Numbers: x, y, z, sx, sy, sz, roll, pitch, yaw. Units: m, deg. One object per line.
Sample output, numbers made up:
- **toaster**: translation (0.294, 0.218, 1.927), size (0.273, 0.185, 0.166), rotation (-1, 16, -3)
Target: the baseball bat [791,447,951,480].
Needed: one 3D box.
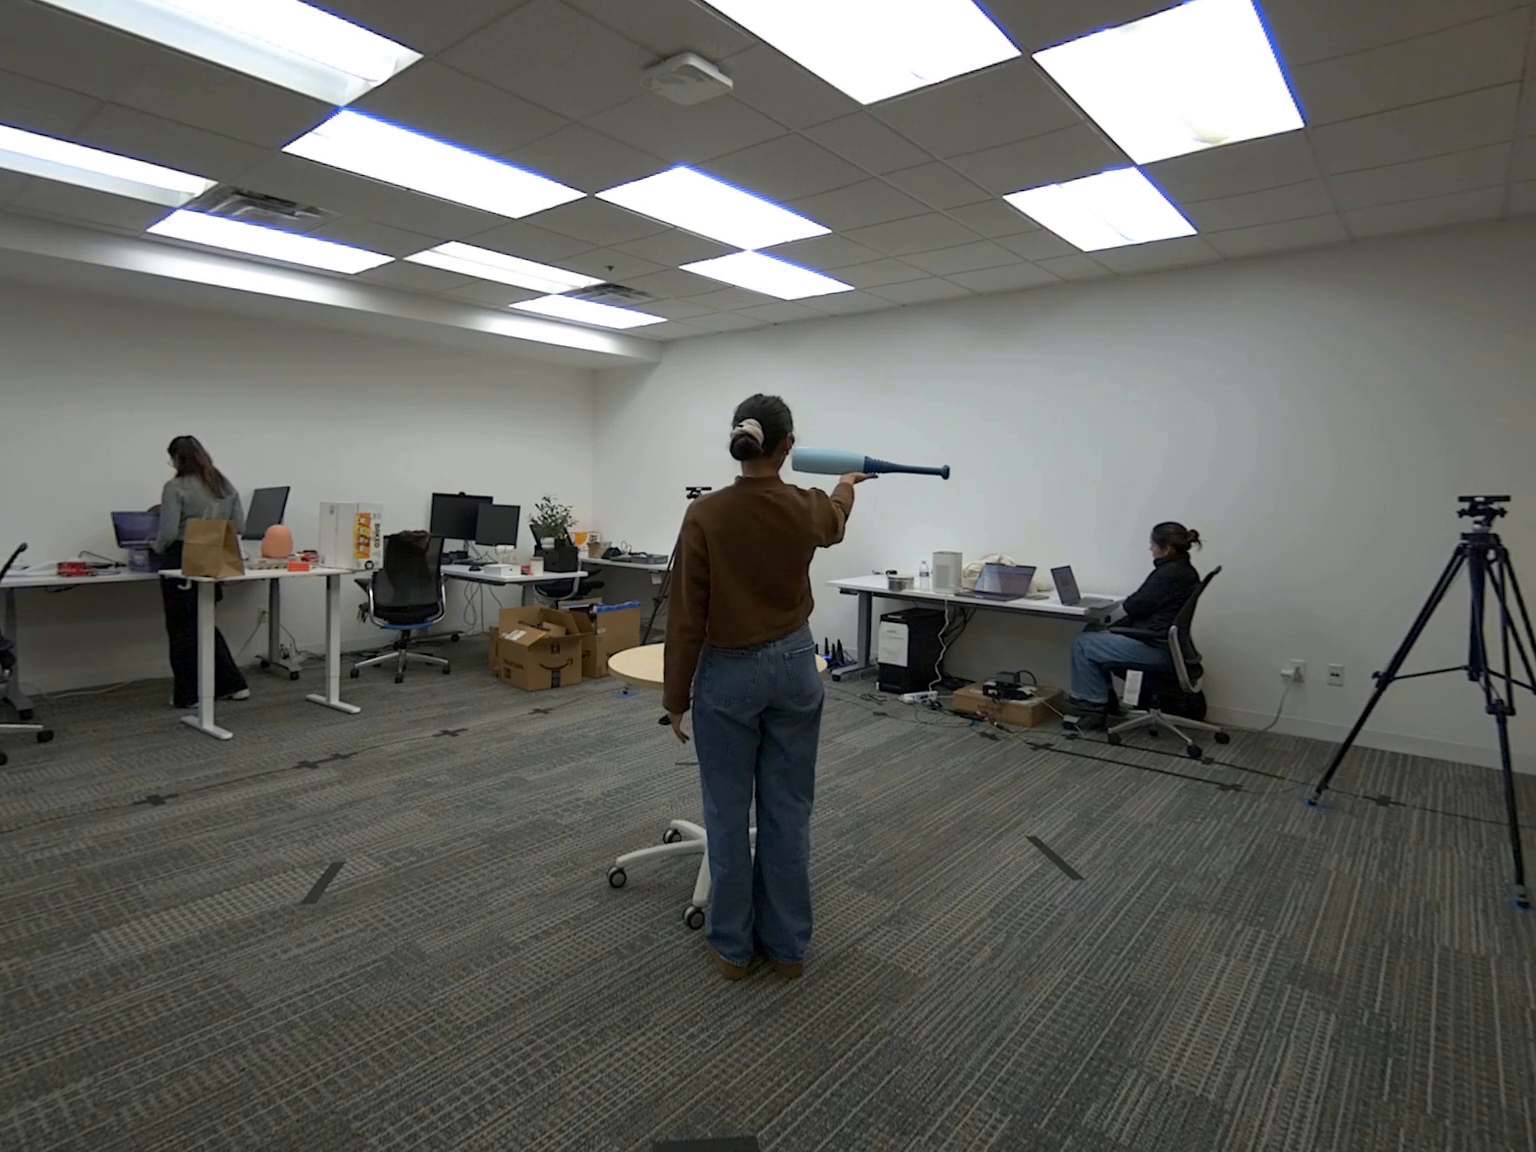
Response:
- **baseball bat**: translation (0.346, -0.384, 2.949), size (0.547, 0.089, 0.089), rotation (6, 5, 6)
